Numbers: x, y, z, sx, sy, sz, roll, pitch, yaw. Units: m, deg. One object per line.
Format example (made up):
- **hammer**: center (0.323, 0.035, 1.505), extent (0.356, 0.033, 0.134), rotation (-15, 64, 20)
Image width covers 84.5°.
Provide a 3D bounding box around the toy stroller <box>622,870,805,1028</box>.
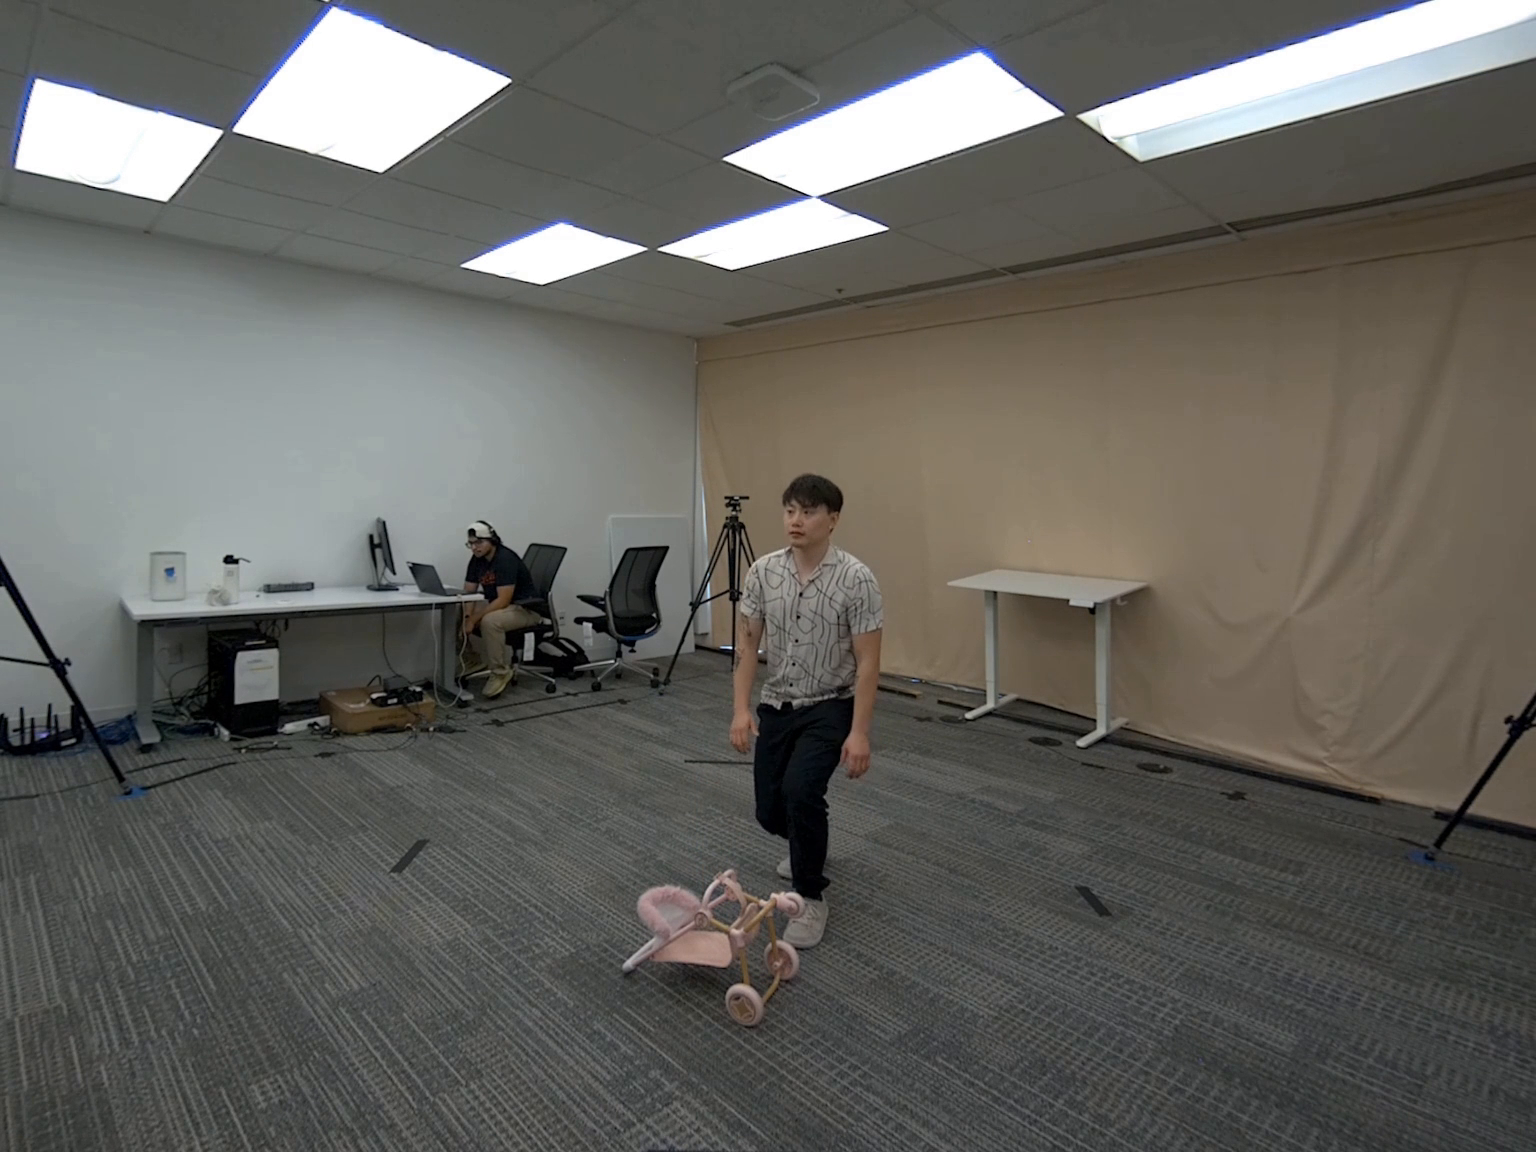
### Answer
- **toy stroller**: center (-0.153, 1.012, 2.379), extent (0.546, 0.339, 0.277), rotation (5, 9, 27)
